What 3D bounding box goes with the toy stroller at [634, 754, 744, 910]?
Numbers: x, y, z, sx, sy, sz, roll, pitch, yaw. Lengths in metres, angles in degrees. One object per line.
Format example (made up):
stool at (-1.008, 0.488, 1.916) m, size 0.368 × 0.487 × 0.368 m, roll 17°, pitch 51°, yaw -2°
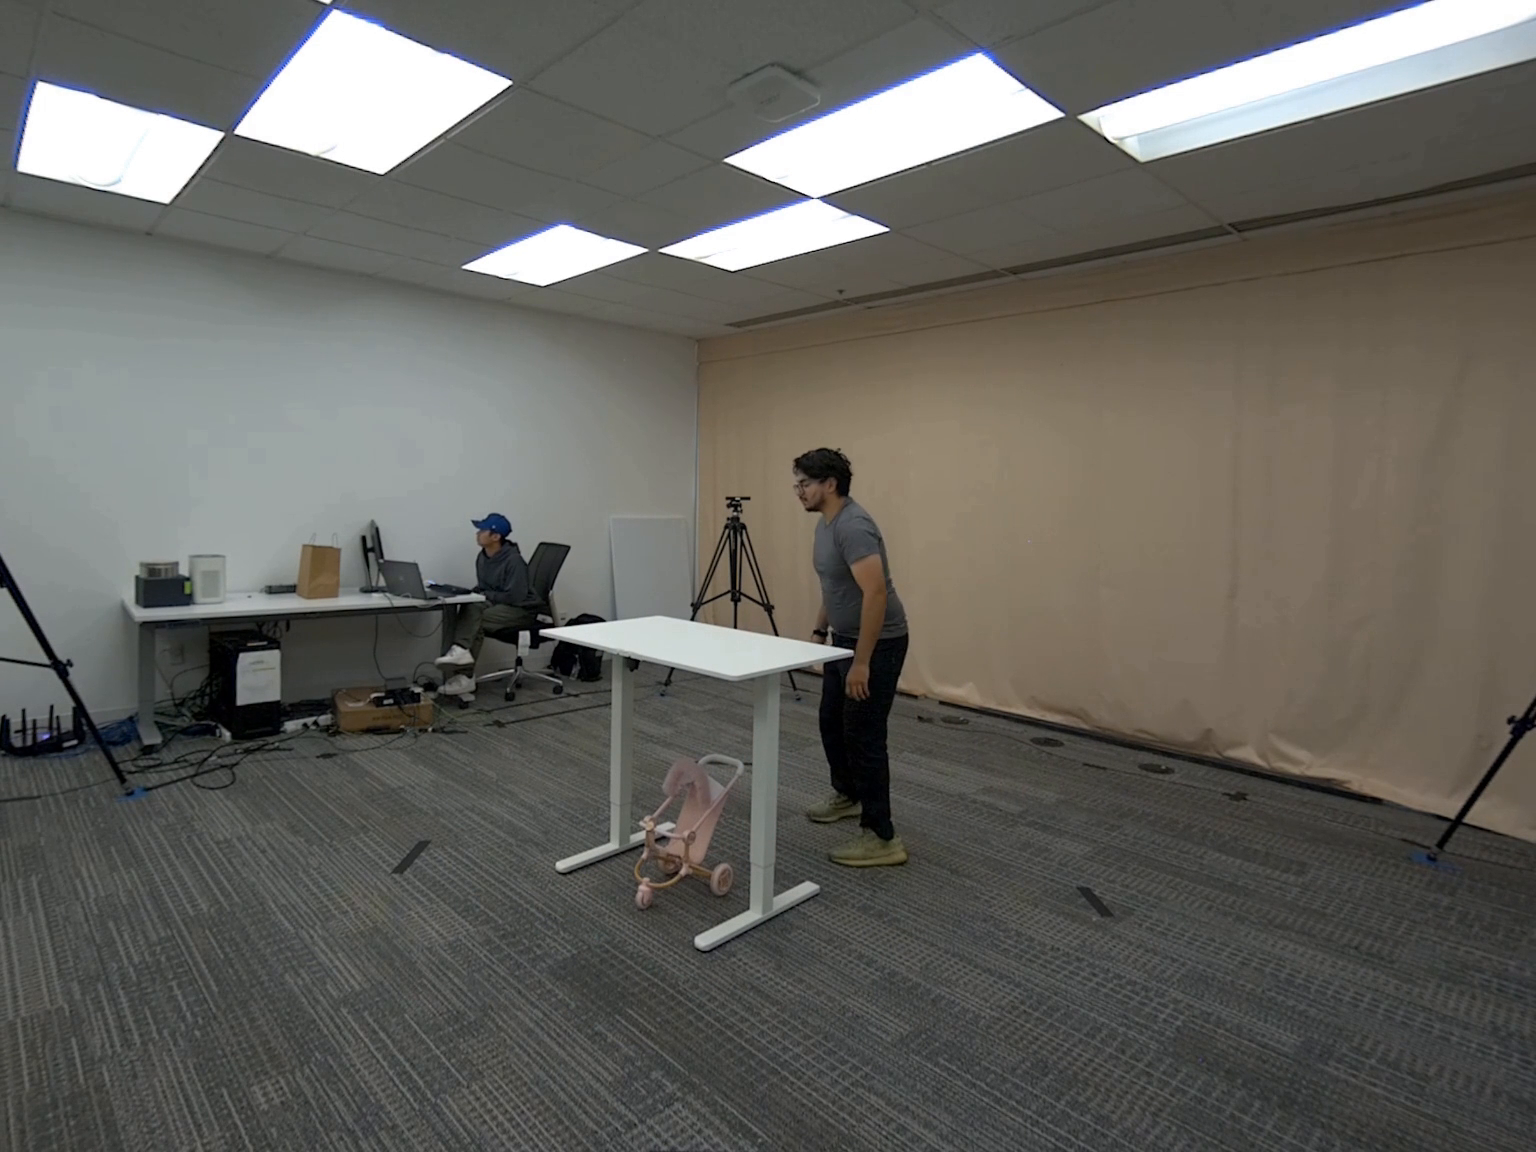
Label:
toy stroller at (-0.304, 0.894, 2.974) m, size 0.288 × 0.538 × 0.331 m, roll 4°, pitch -12°, yaw 44°
